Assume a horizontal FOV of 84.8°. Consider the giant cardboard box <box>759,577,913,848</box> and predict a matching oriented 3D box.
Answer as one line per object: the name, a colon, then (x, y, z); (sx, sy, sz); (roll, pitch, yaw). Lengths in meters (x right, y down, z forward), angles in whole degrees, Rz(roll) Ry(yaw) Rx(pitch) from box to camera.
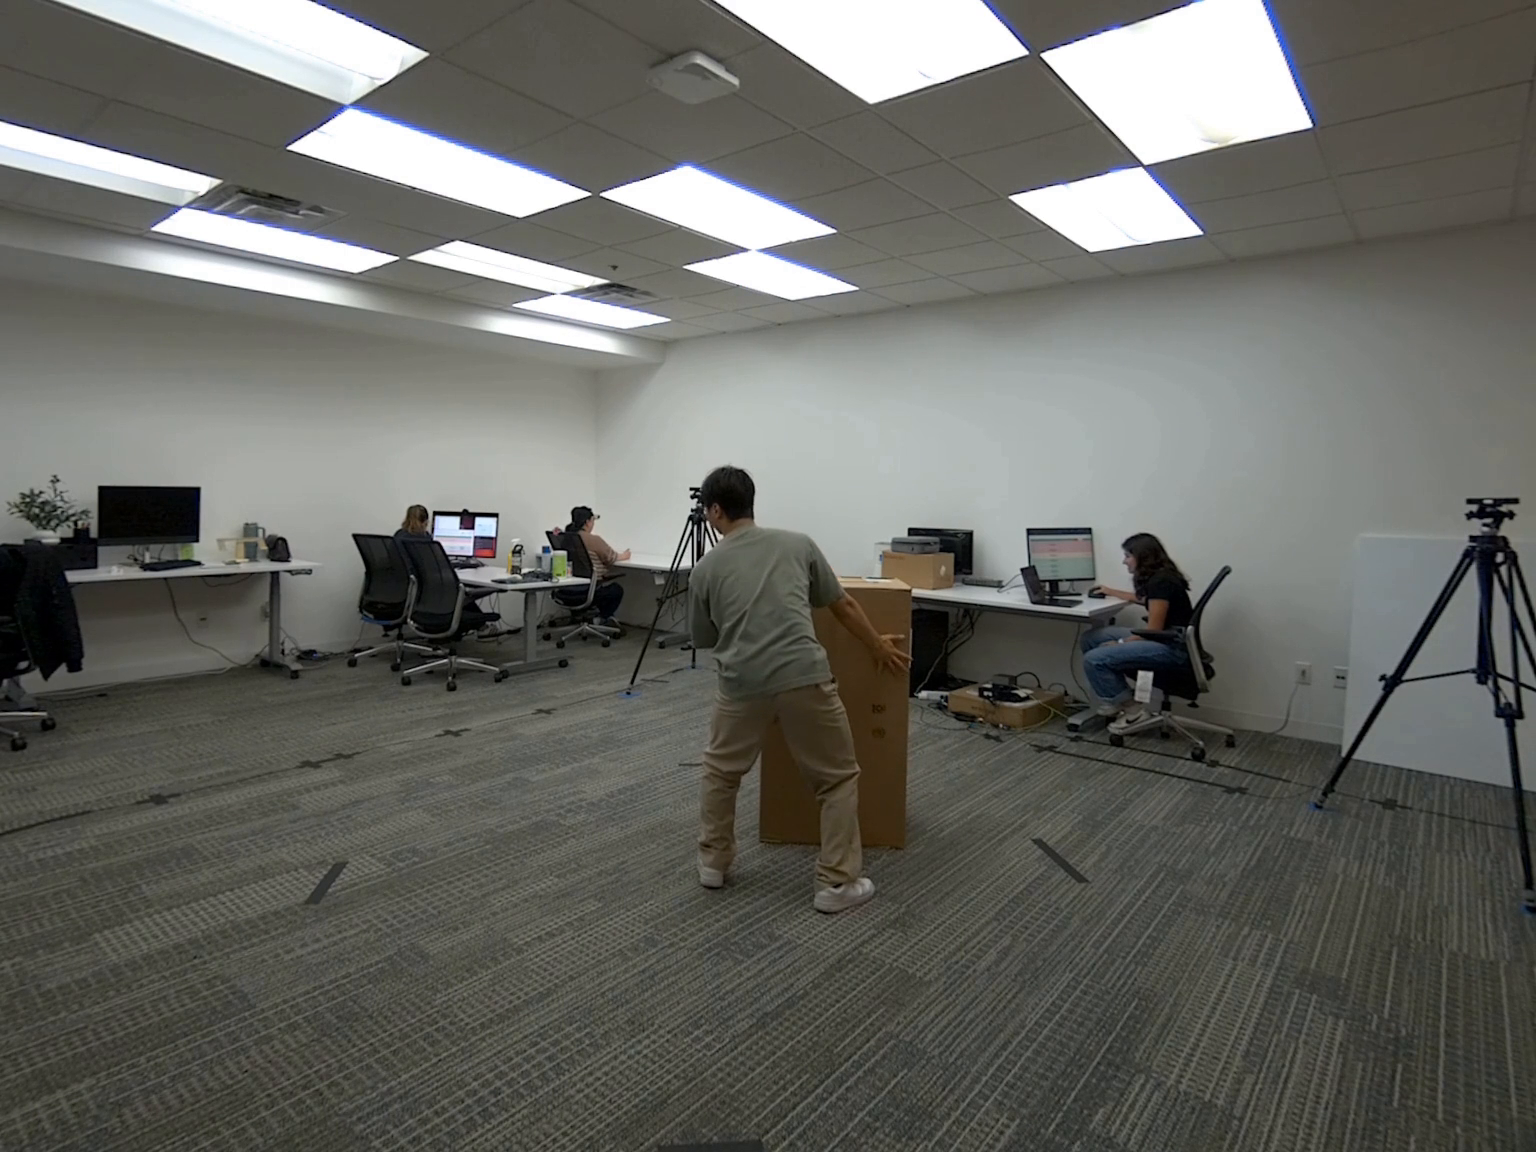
giant cardboard box: (0.259, 0.527, 3.526); (0.580, 1.023, 0.426); (1, 3, 3)
